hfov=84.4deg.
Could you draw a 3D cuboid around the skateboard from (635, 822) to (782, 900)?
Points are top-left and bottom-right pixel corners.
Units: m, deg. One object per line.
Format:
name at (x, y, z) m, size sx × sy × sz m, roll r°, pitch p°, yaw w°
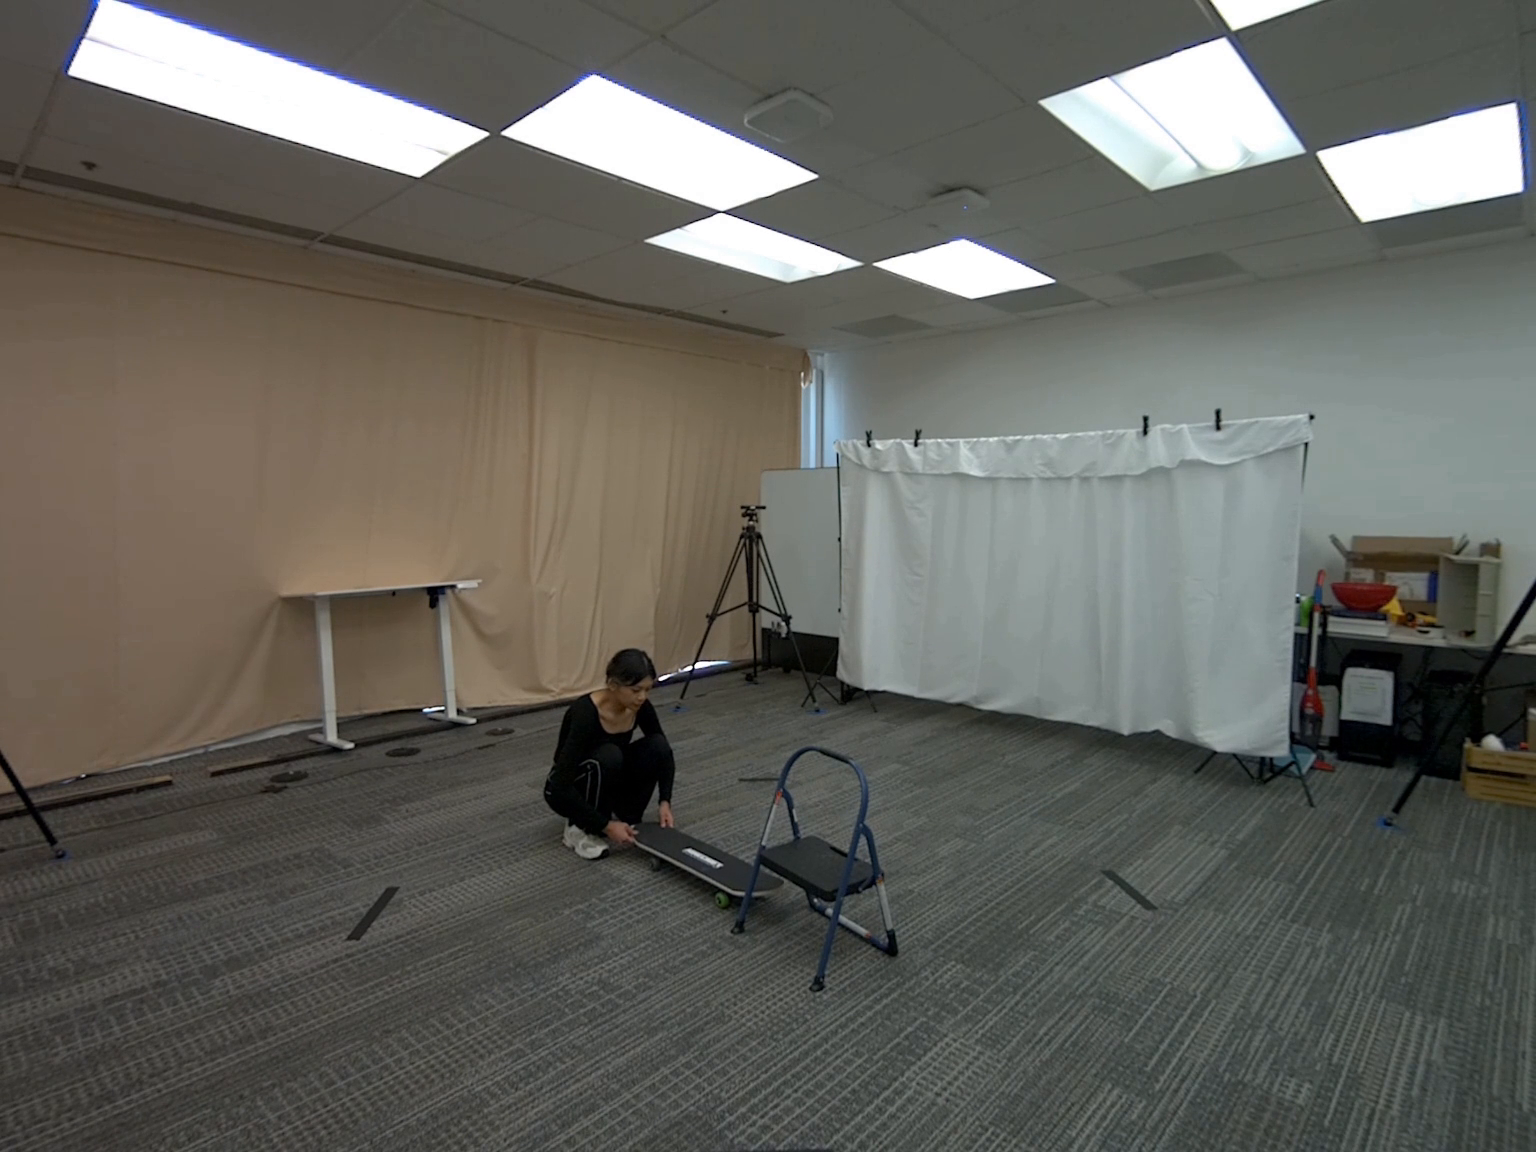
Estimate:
skateboard at (-0.234, 1.077, 3.121) m, size 0.187 × 0.110 × 0.811 m, roll -3°, pitch 5°, yaw -42°
